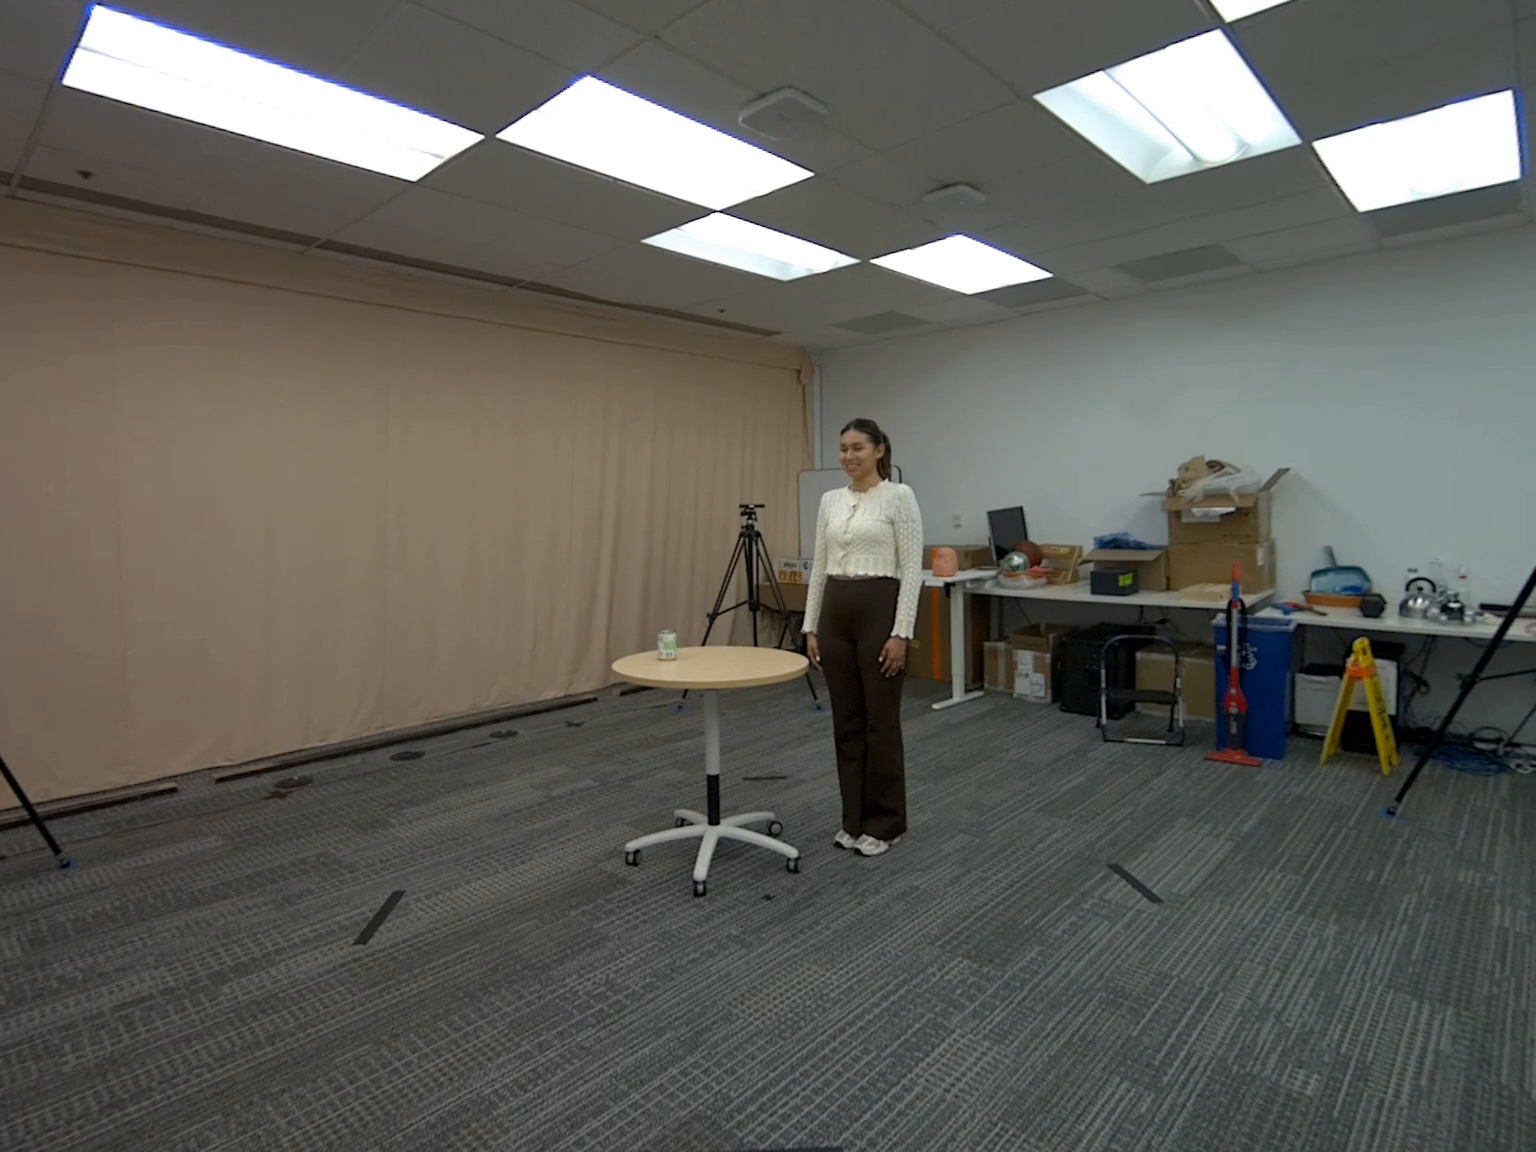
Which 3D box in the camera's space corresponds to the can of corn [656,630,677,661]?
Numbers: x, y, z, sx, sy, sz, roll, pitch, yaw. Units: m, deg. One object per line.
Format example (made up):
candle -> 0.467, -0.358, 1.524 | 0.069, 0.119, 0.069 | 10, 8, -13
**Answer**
can of corn -> -0.402, 0.280, 3.361 | 0.074, 0.111, 0.074 | -1, 0, -2
